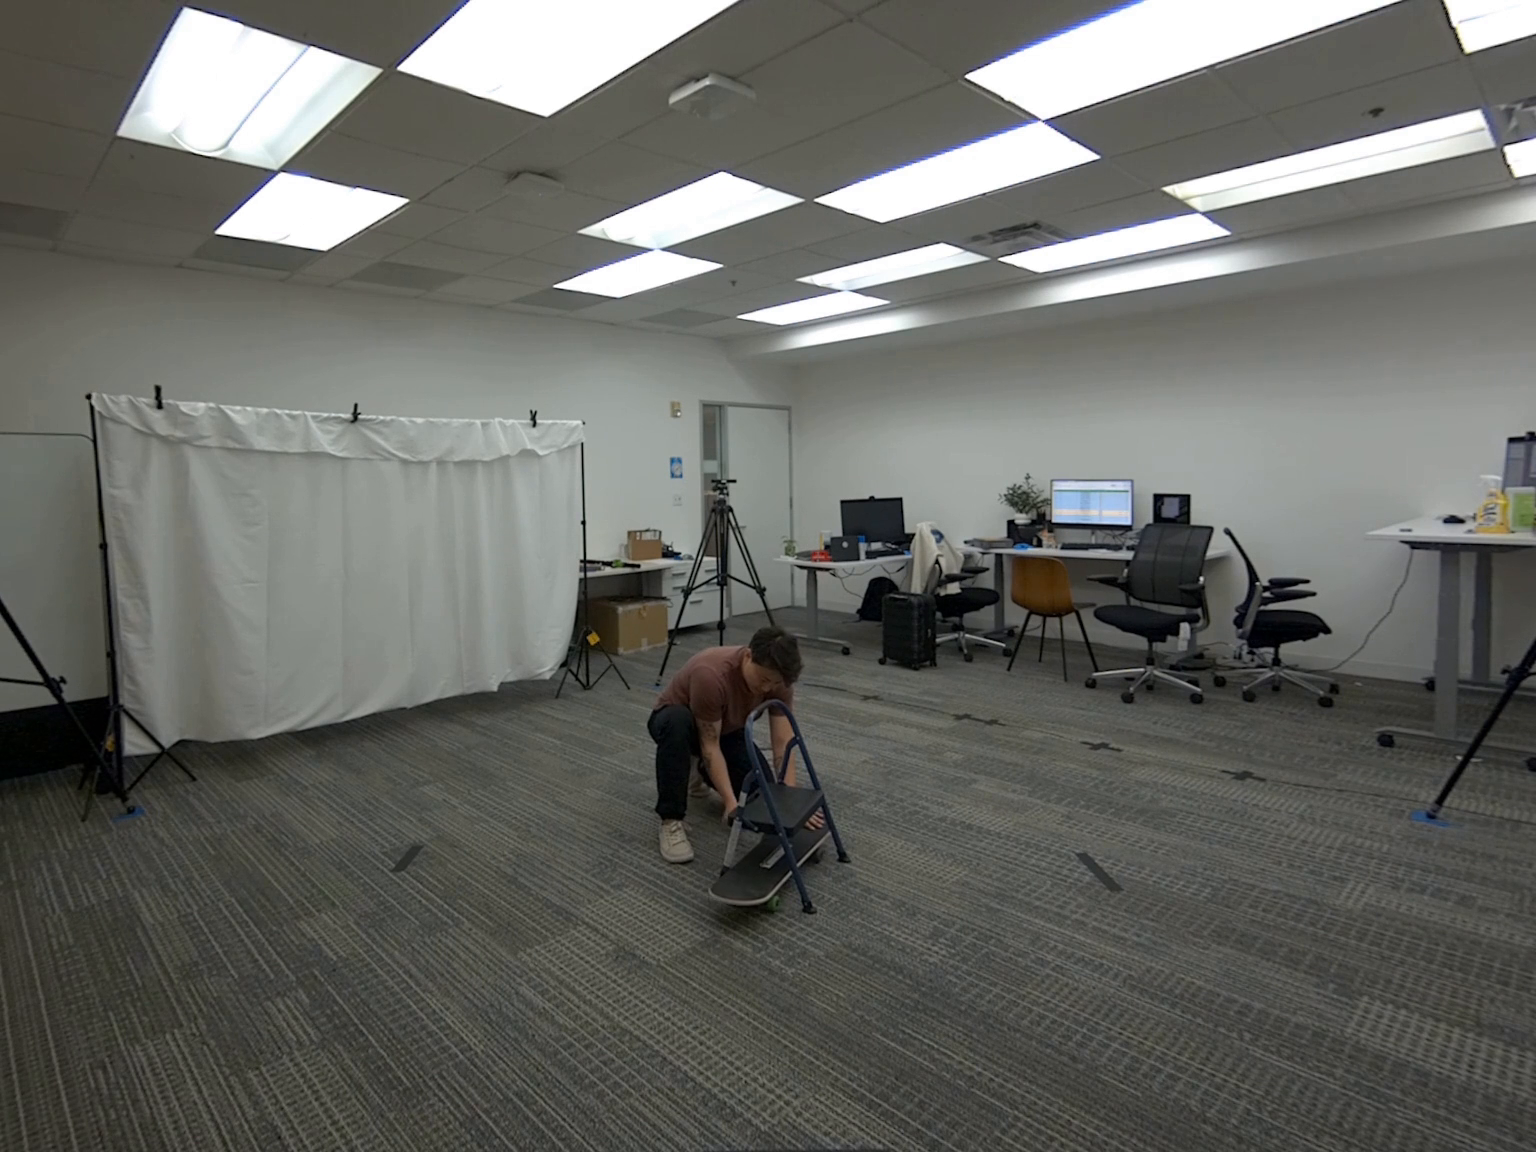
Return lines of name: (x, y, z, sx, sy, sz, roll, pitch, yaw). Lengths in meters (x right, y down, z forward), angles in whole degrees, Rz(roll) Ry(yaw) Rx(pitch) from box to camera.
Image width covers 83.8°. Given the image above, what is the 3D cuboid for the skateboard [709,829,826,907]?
skateboard: (0.034, 1.005, 2.974, 0.198, 0.110, 0.771, 1, 6, 23)
